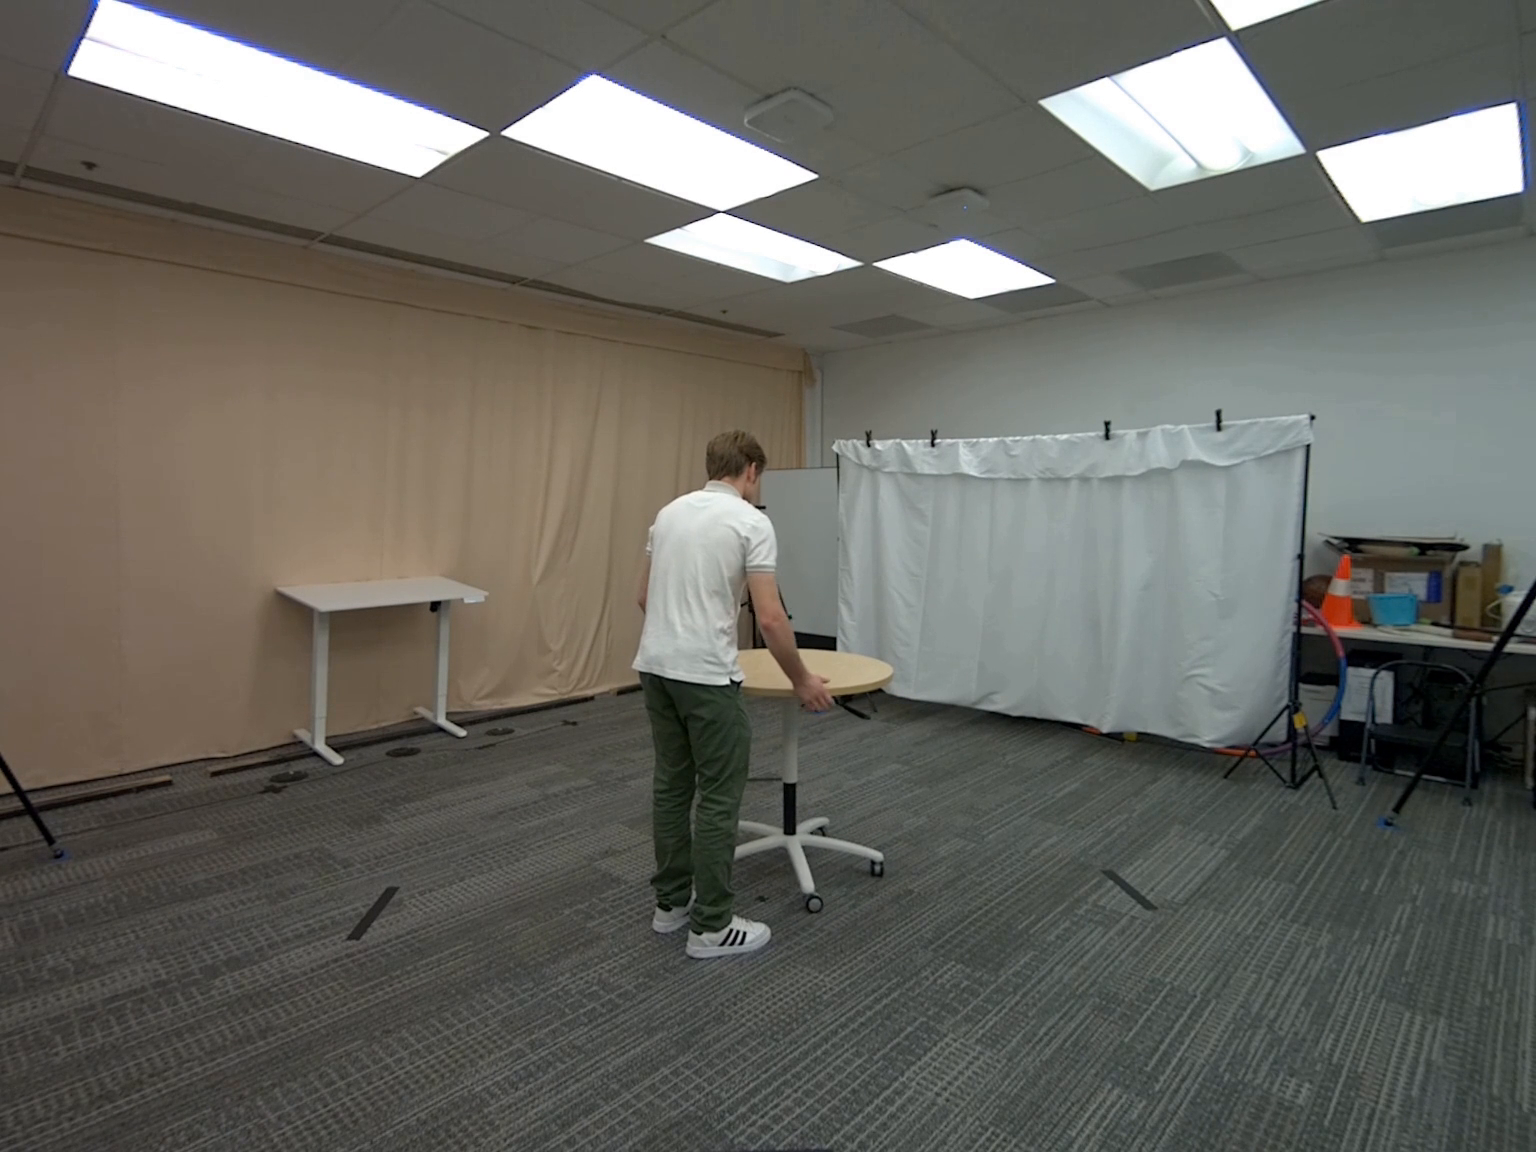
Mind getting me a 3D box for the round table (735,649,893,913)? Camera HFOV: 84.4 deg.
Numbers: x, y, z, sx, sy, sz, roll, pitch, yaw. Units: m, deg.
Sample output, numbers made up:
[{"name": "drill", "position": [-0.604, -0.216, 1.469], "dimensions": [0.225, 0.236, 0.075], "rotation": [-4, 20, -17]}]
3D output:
[{"name": "round table", "position": [0.084, 0.735, 3.204], "dimensions": [0.763, 0.792, 0.767], "rotation": [0, 4, -2]}]
